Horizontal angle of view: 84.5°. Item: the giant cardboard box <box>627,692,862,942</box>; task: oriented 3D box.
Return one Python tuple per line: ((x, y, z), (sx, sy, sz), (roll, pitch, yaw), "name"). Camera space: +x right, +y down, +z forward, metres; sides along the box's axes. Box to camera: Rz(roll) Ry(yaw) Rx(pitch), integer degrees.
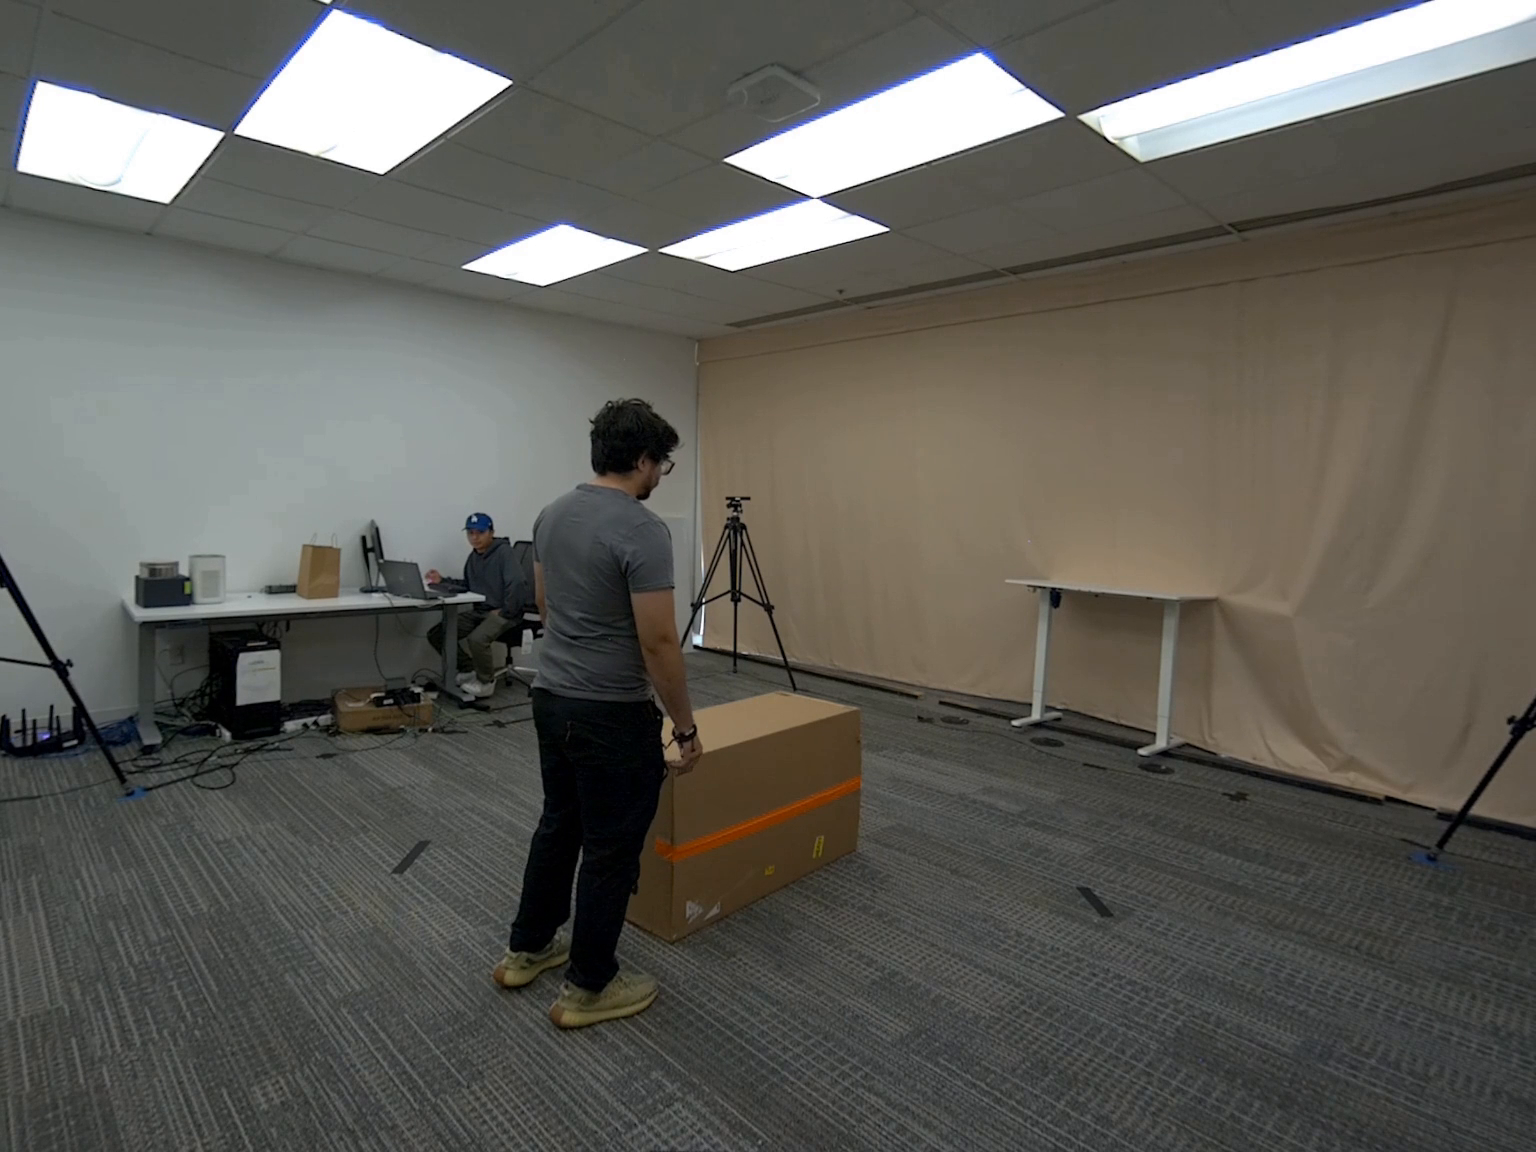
((-0.125, 0.816, 3.110), (0.437, 0.576, 1.003), (5, 6, 41), "giant cardboard box")
